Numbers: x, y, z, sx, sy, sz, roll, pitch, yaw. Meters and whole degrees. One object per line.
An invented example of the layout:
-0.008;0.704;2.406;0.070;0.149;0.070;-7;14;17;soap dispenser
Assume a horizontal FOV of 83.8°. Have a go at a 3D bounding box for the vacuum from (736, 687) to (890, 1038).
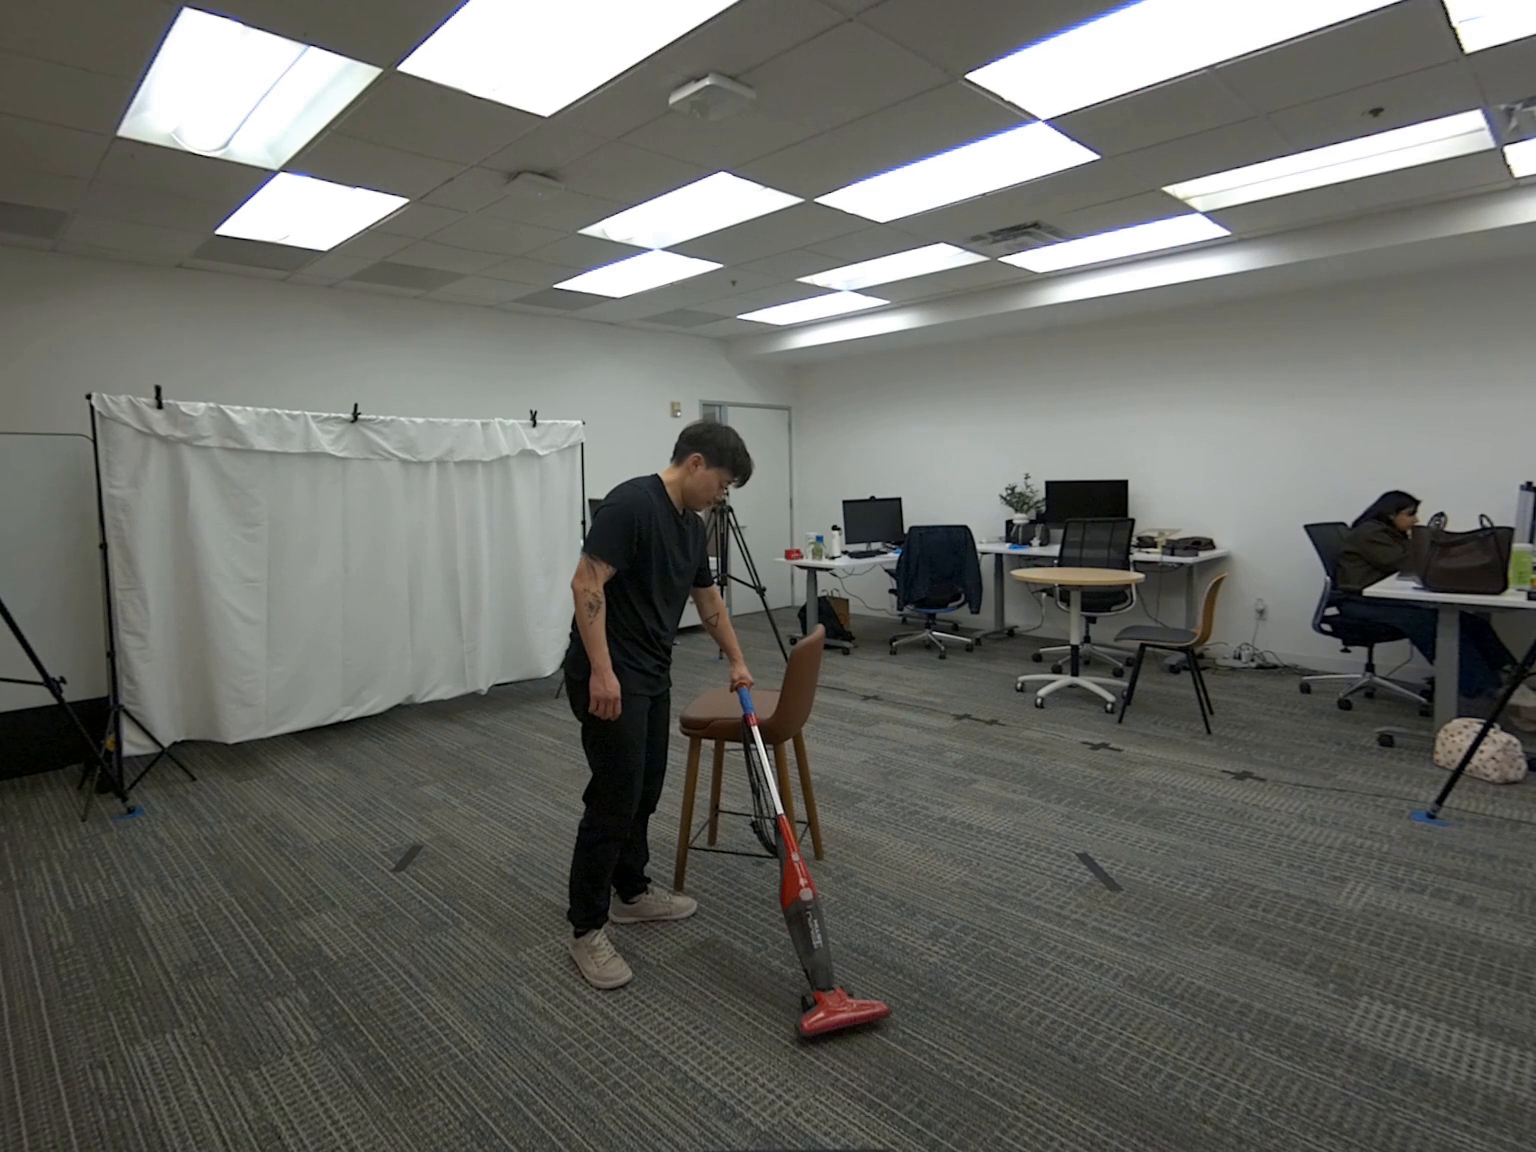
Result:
0.019;0.733;2.527;0.249;0.141;1.088;-8;48;-19;vacuum
